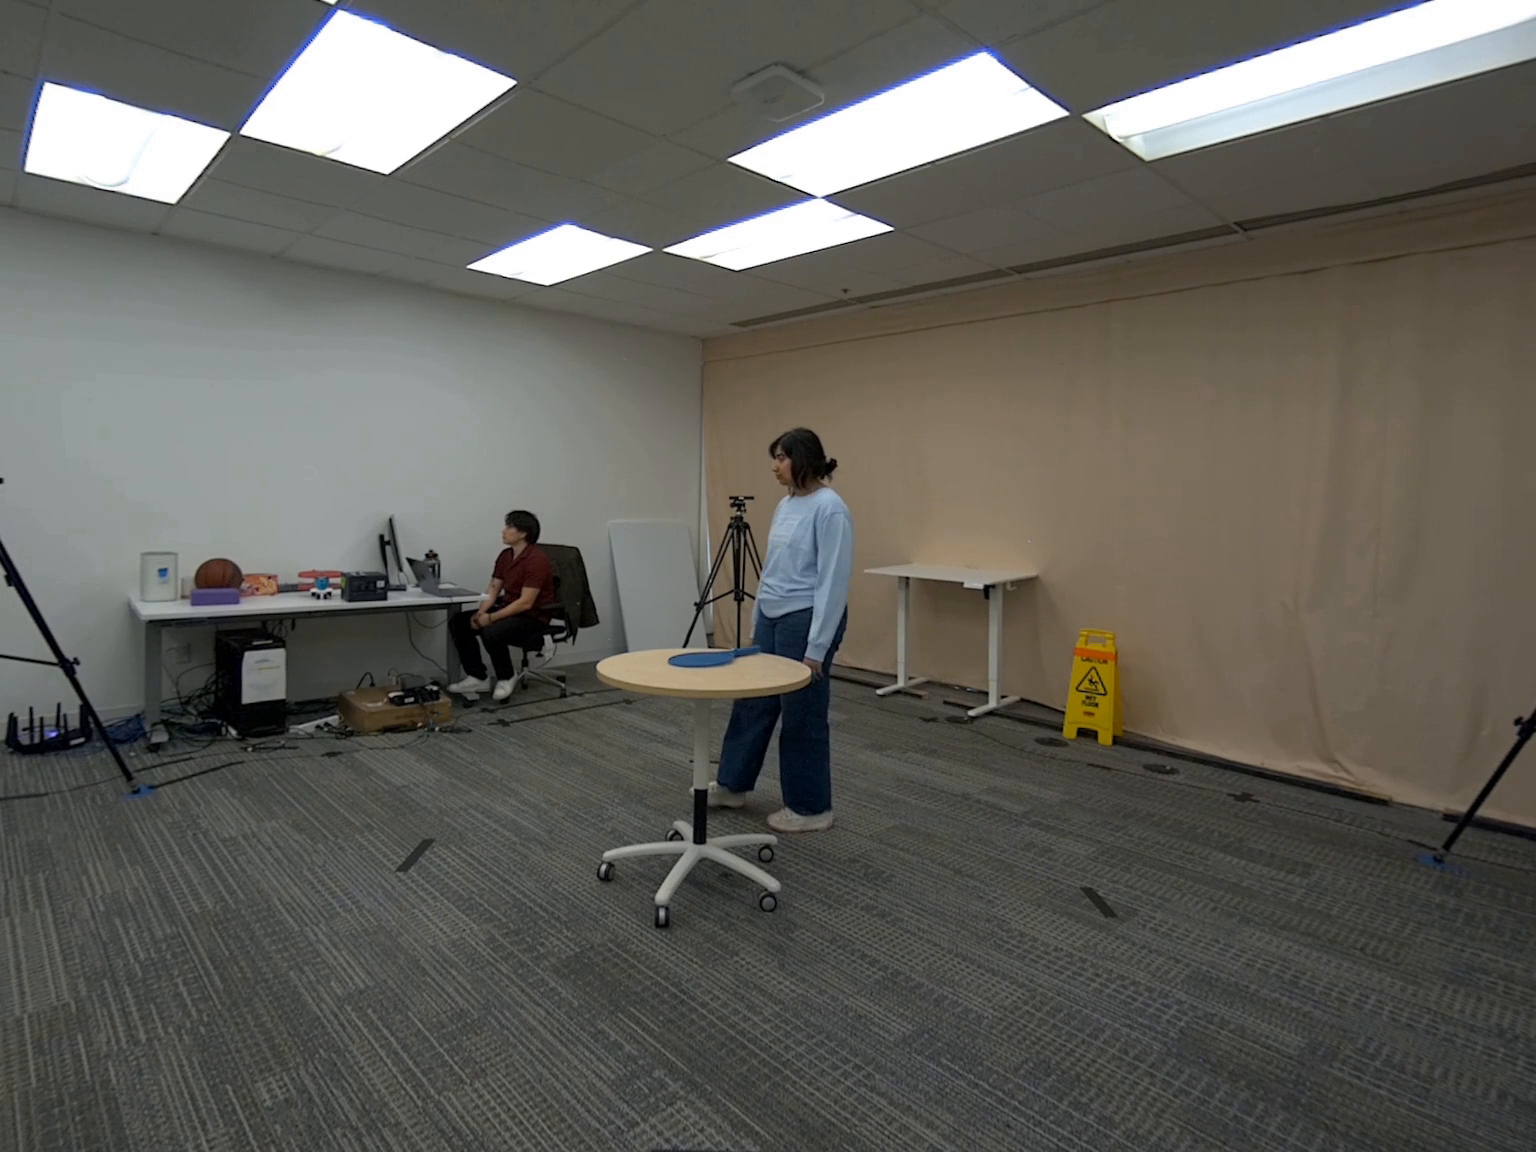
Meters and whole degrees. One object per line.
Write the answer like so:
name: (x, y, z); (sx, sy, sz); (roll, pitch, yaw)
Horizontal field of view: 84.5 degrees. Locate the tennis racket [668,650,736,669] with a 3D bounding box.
tennis racket: (-0.197, 0.309, 3.170); (0.423, 0.031, 0.219); (-5, 9, -44)
